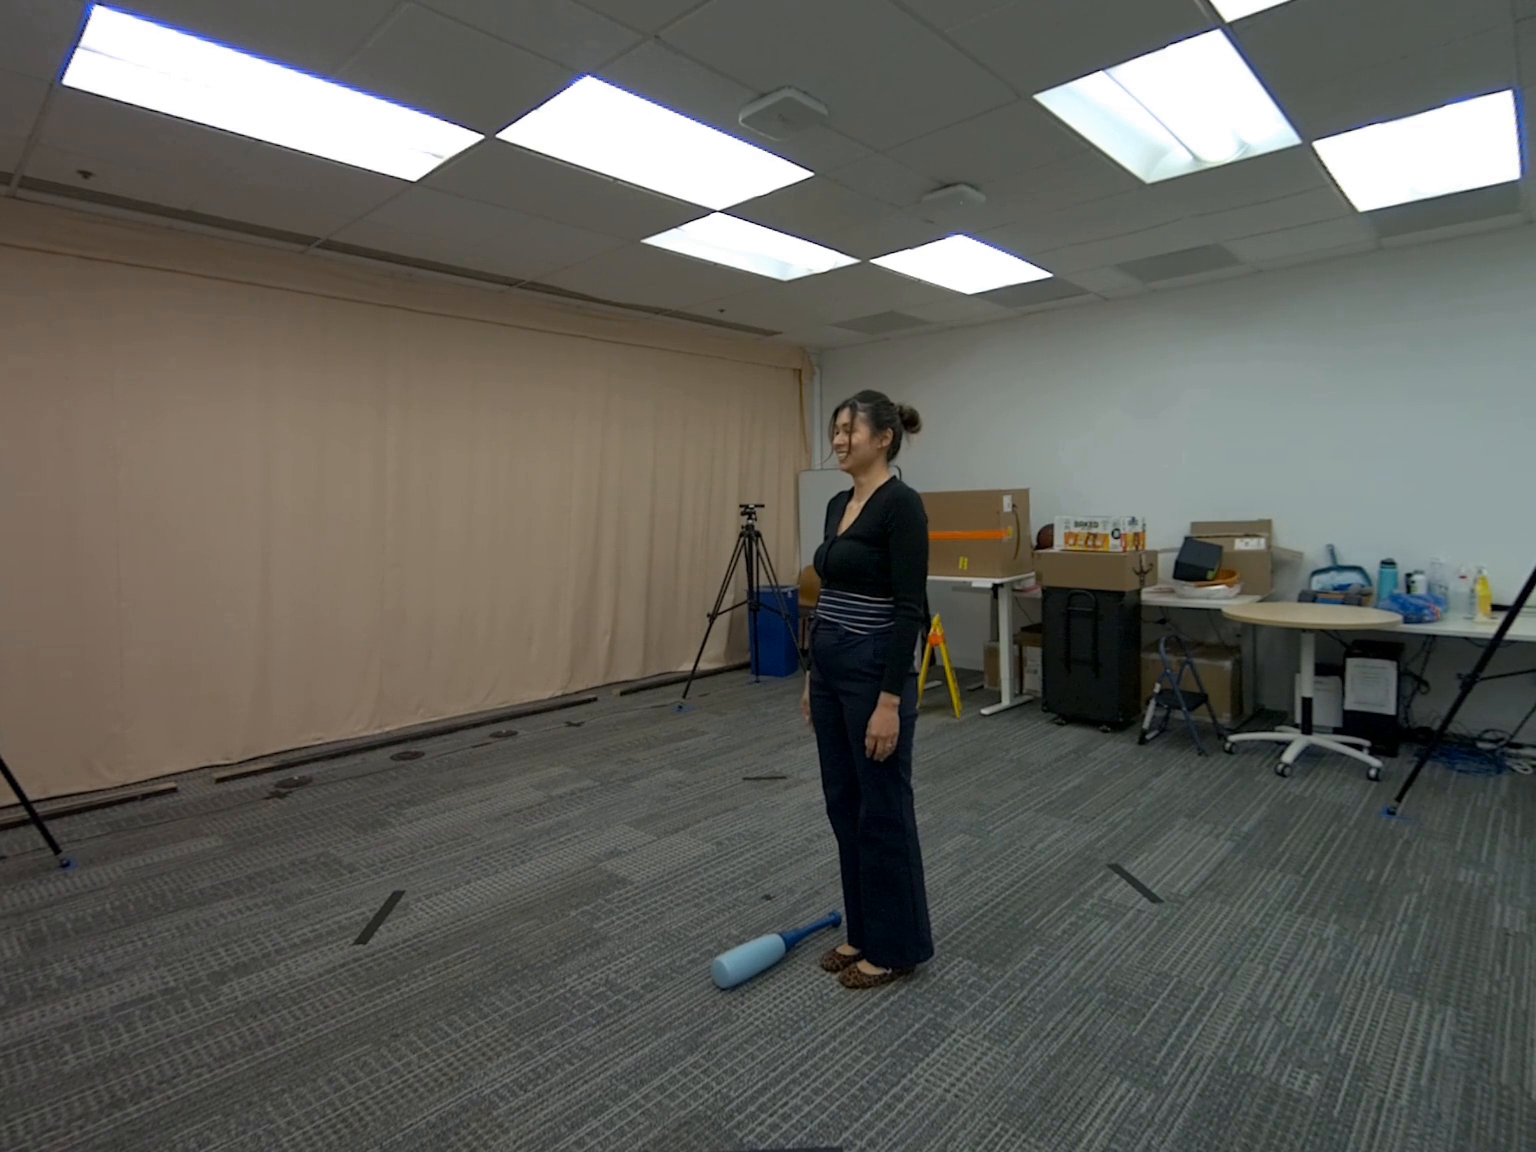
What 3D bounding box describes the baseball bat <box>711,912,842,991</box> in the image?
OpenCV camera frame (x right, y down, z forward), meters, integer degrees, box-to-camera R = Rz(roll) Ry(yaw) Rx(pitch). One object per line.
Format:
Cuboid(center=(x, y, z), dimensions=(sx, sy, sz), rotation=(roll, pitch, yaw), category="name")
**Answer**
Cuboid(center=(0.048, 1.143, 2.594), dimensions=(0.526, 0.089, 0.092), rotation=(-1, 3, -44), category="baseball bat")
